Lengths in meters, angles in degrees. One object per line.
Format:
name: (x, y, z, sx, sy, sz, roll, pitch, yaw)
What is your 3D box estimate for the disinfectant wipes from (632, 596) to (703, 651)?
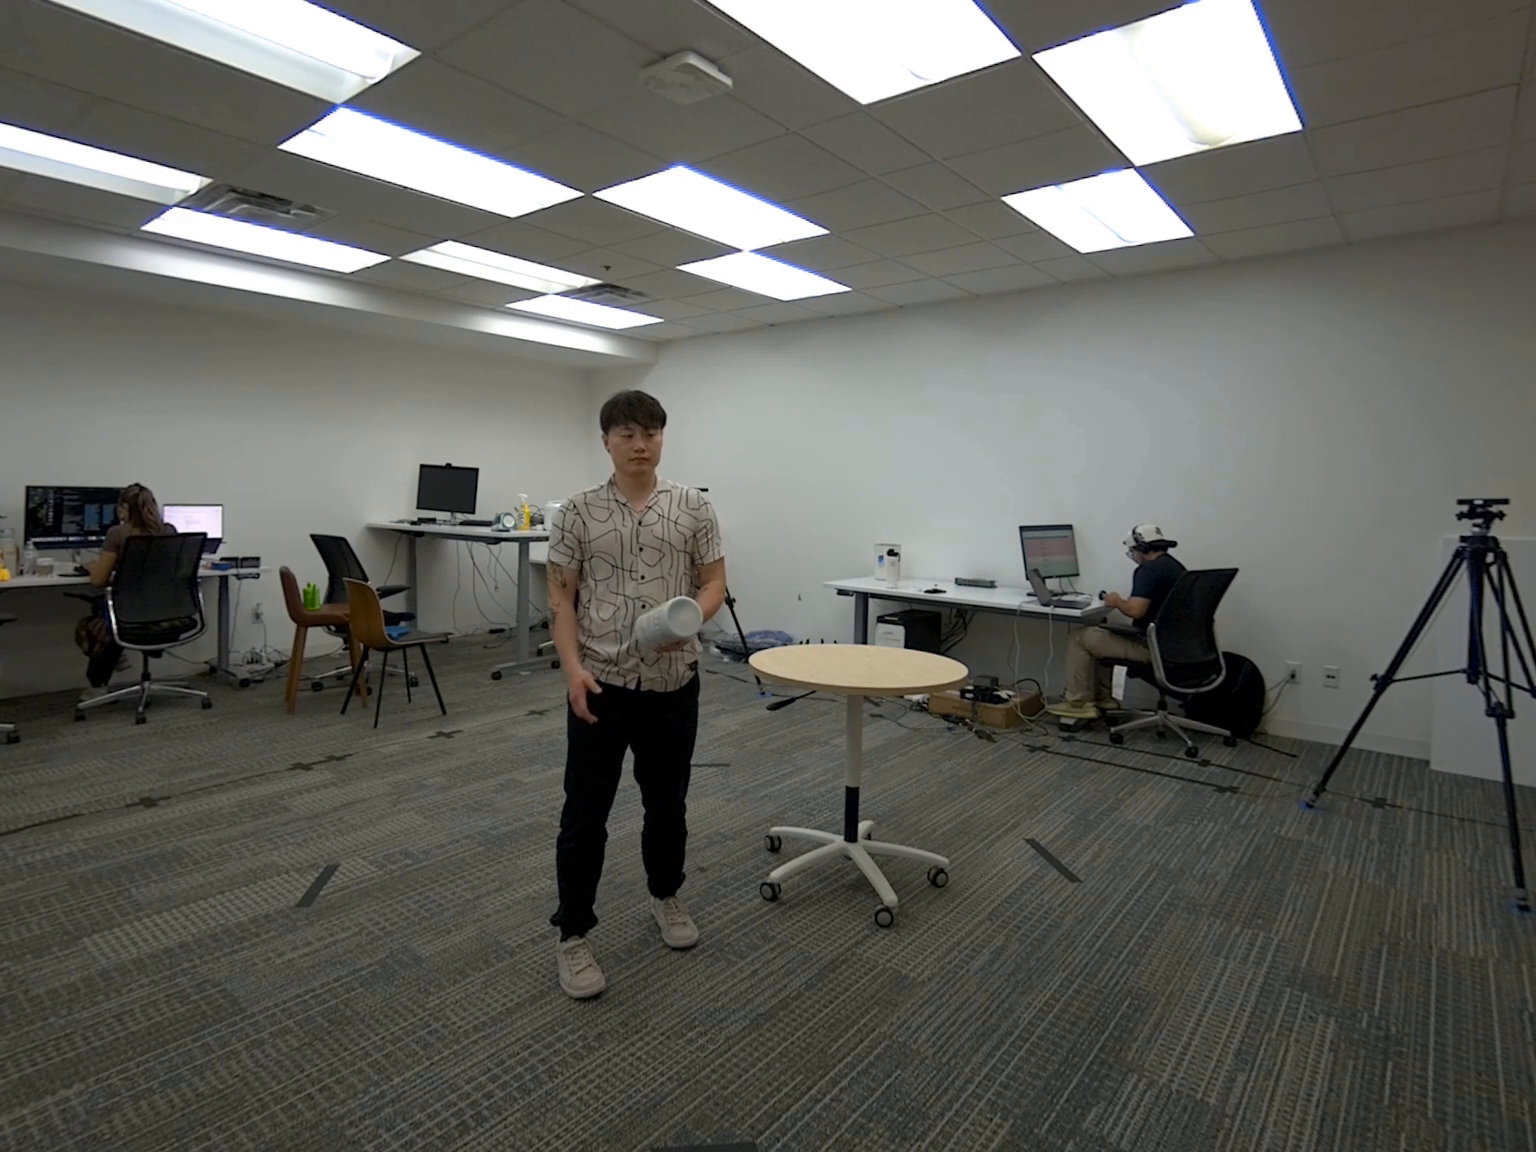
disinfectant wipes: (-0.280, 0.125, 2.261, 0.115, 0.119, 0.220, -1, -14, -28)
